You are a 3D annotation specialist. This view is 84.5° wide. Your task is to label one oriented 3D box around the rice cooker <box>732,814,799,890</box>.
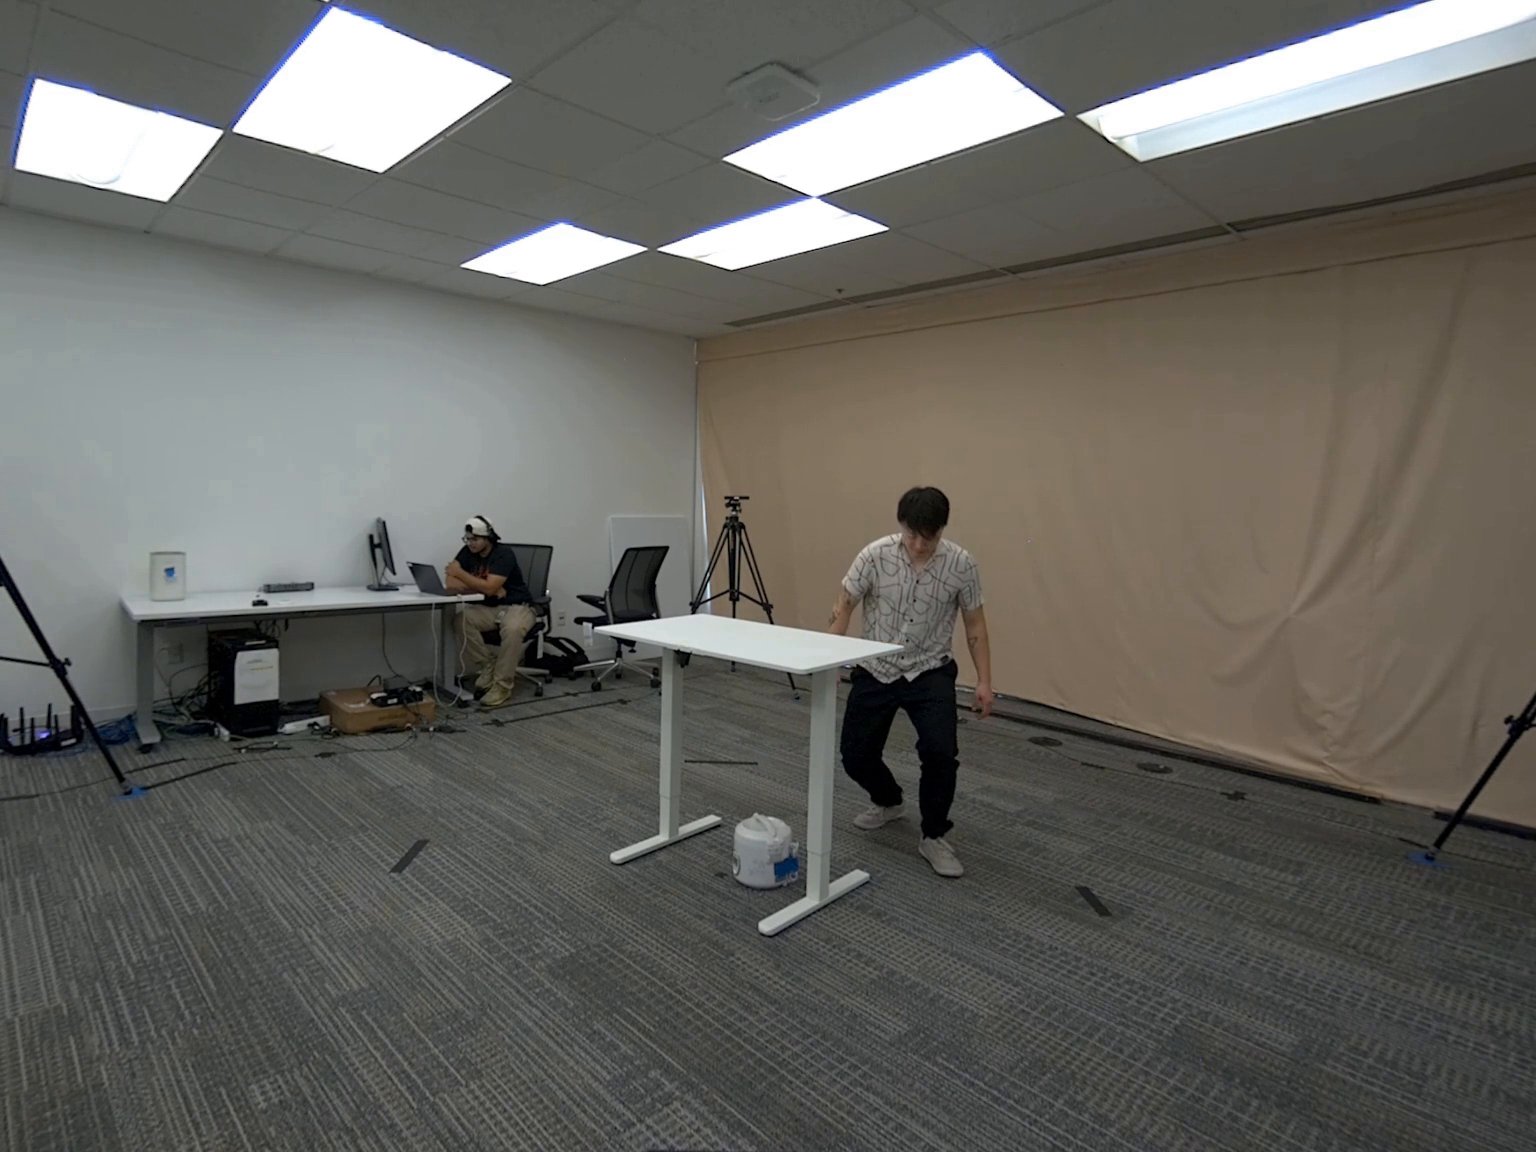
[{"bbox_3d":[-0.028,0.994,3.065,0.213,0.232,0.225,0,4,-24],"label":"rice cooker"}]
